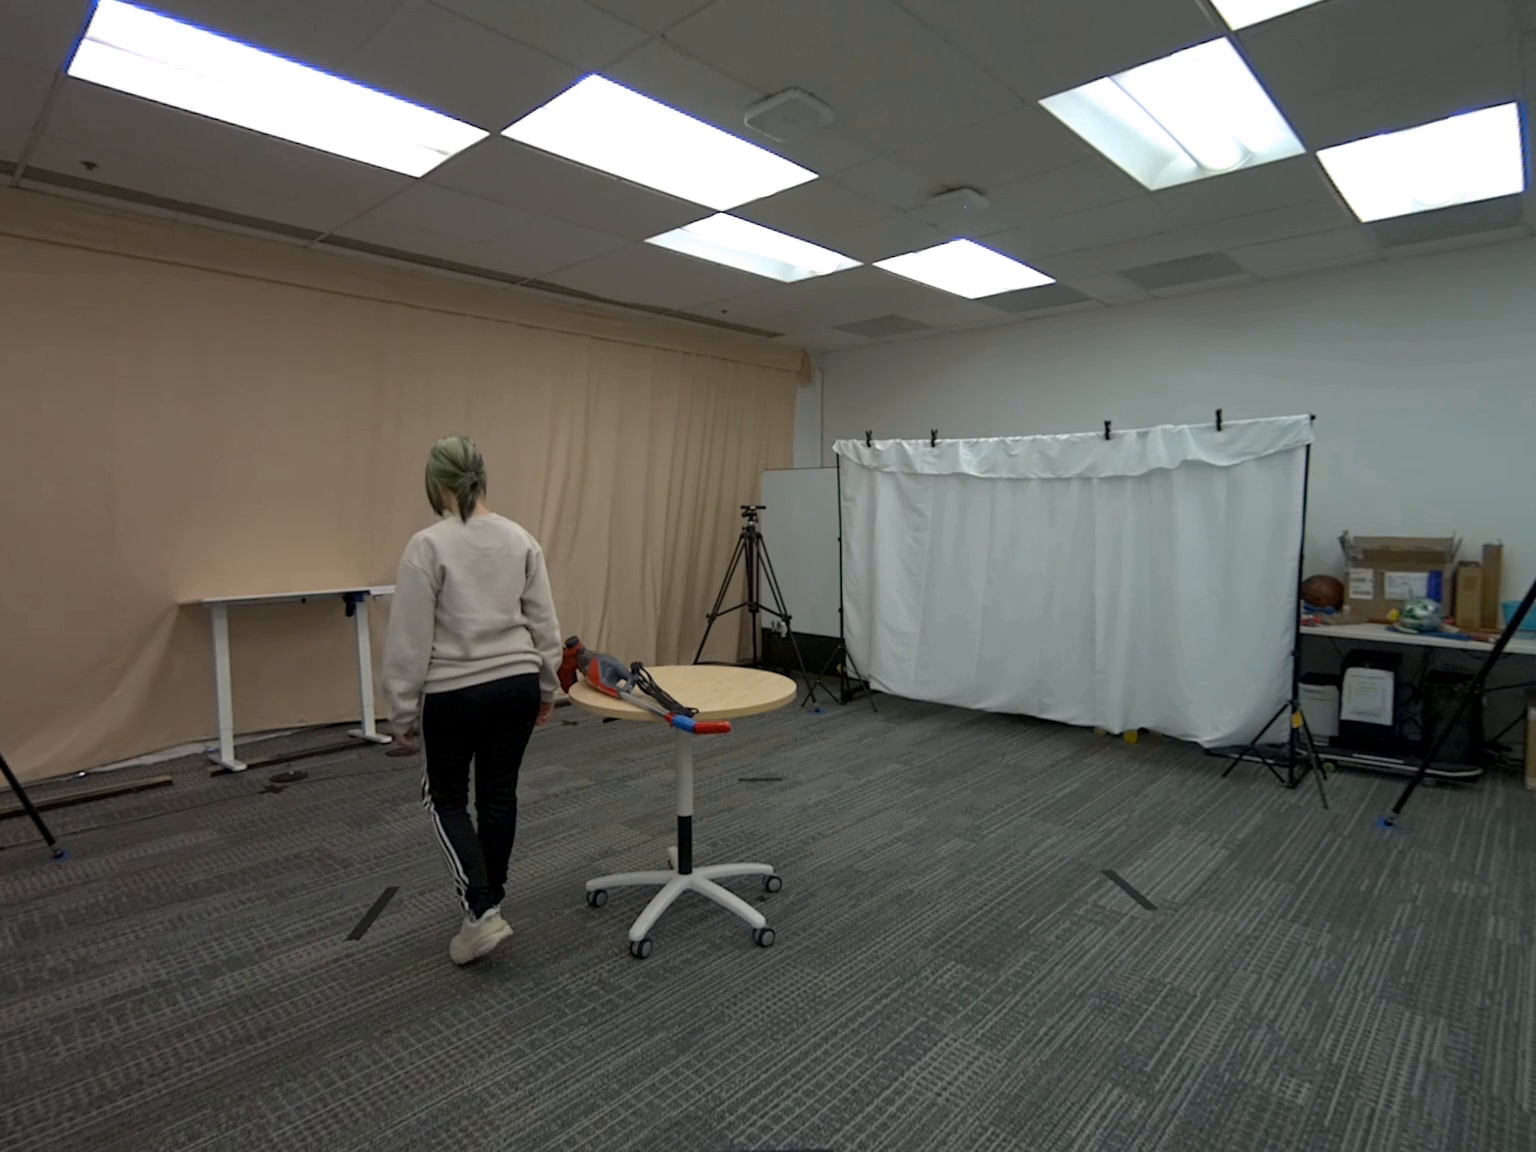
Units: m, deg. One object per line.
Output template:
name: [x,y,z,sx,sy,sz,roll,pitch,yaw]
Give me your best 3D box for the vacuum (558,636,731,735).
vacuum: [-0.425,0.353,2.659,0.142,0.247,1.083,-38,24,-26]
